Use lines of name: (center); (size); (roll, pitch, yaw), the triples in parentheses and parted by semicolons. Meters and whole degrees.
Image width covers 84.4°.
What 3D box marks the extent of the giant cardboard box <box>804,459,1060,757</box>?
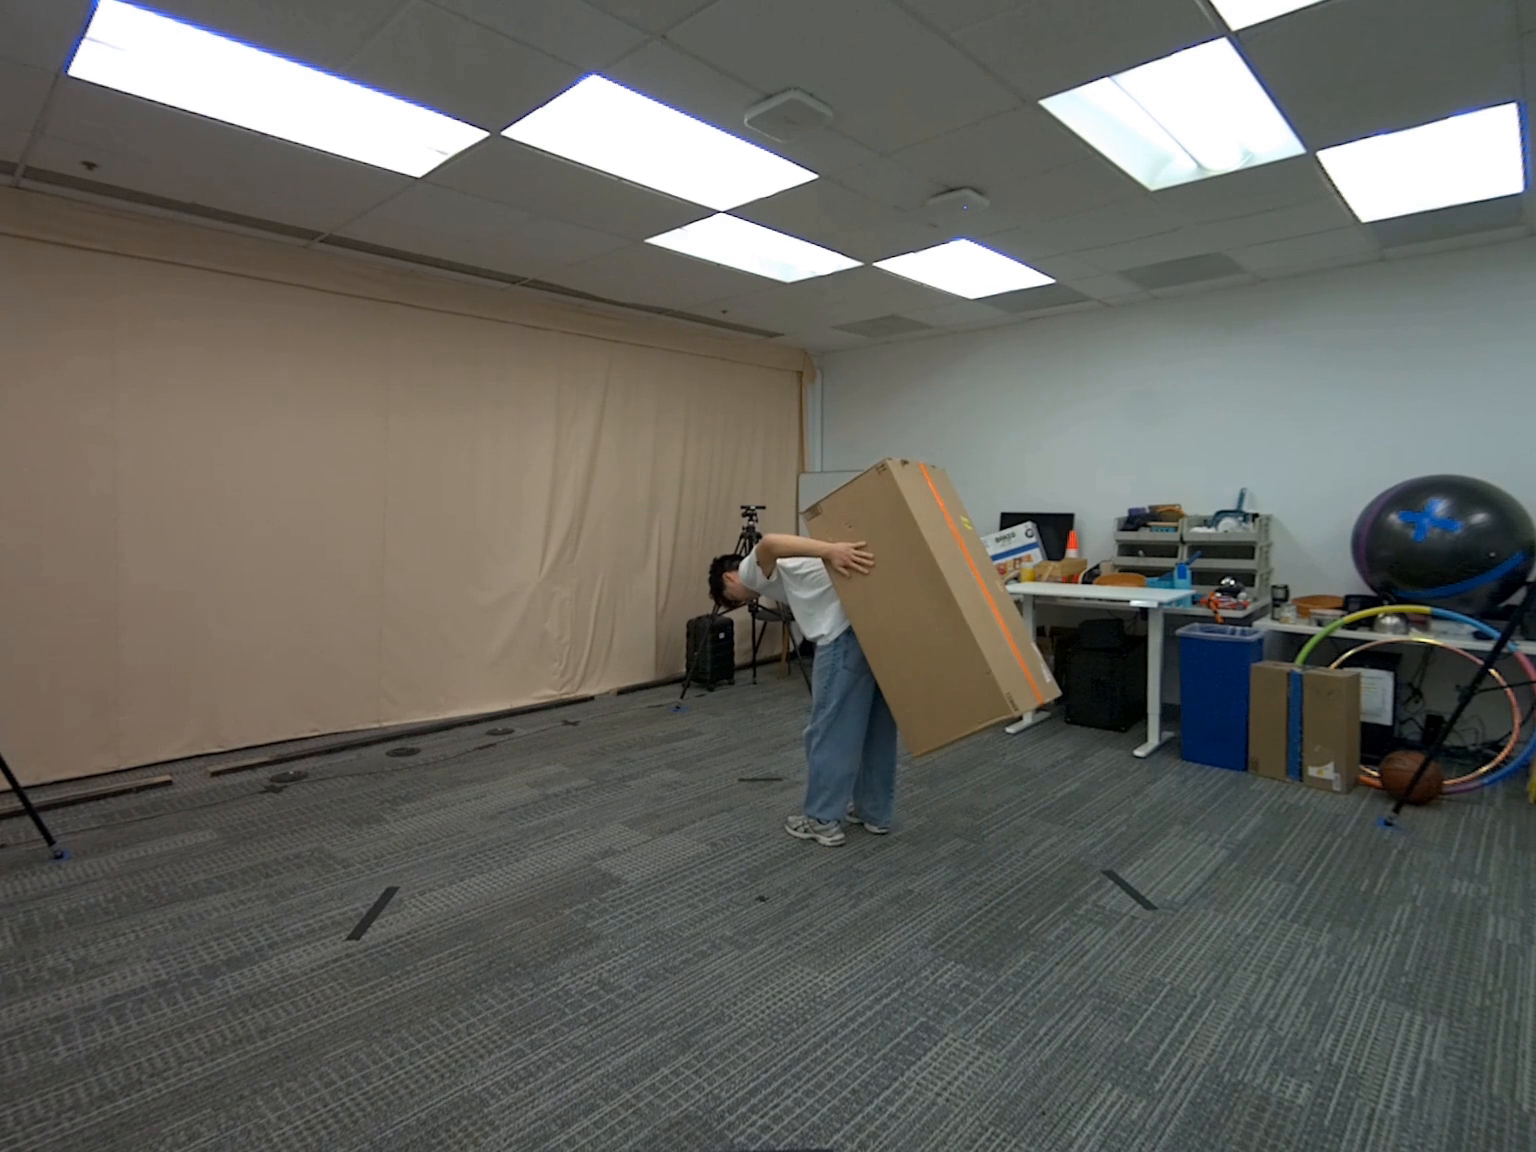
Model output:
giant cardboard box: (0.640, 0.103, 3.288); (0.432, 1.042, 0.560); (-34, -18, 30)
